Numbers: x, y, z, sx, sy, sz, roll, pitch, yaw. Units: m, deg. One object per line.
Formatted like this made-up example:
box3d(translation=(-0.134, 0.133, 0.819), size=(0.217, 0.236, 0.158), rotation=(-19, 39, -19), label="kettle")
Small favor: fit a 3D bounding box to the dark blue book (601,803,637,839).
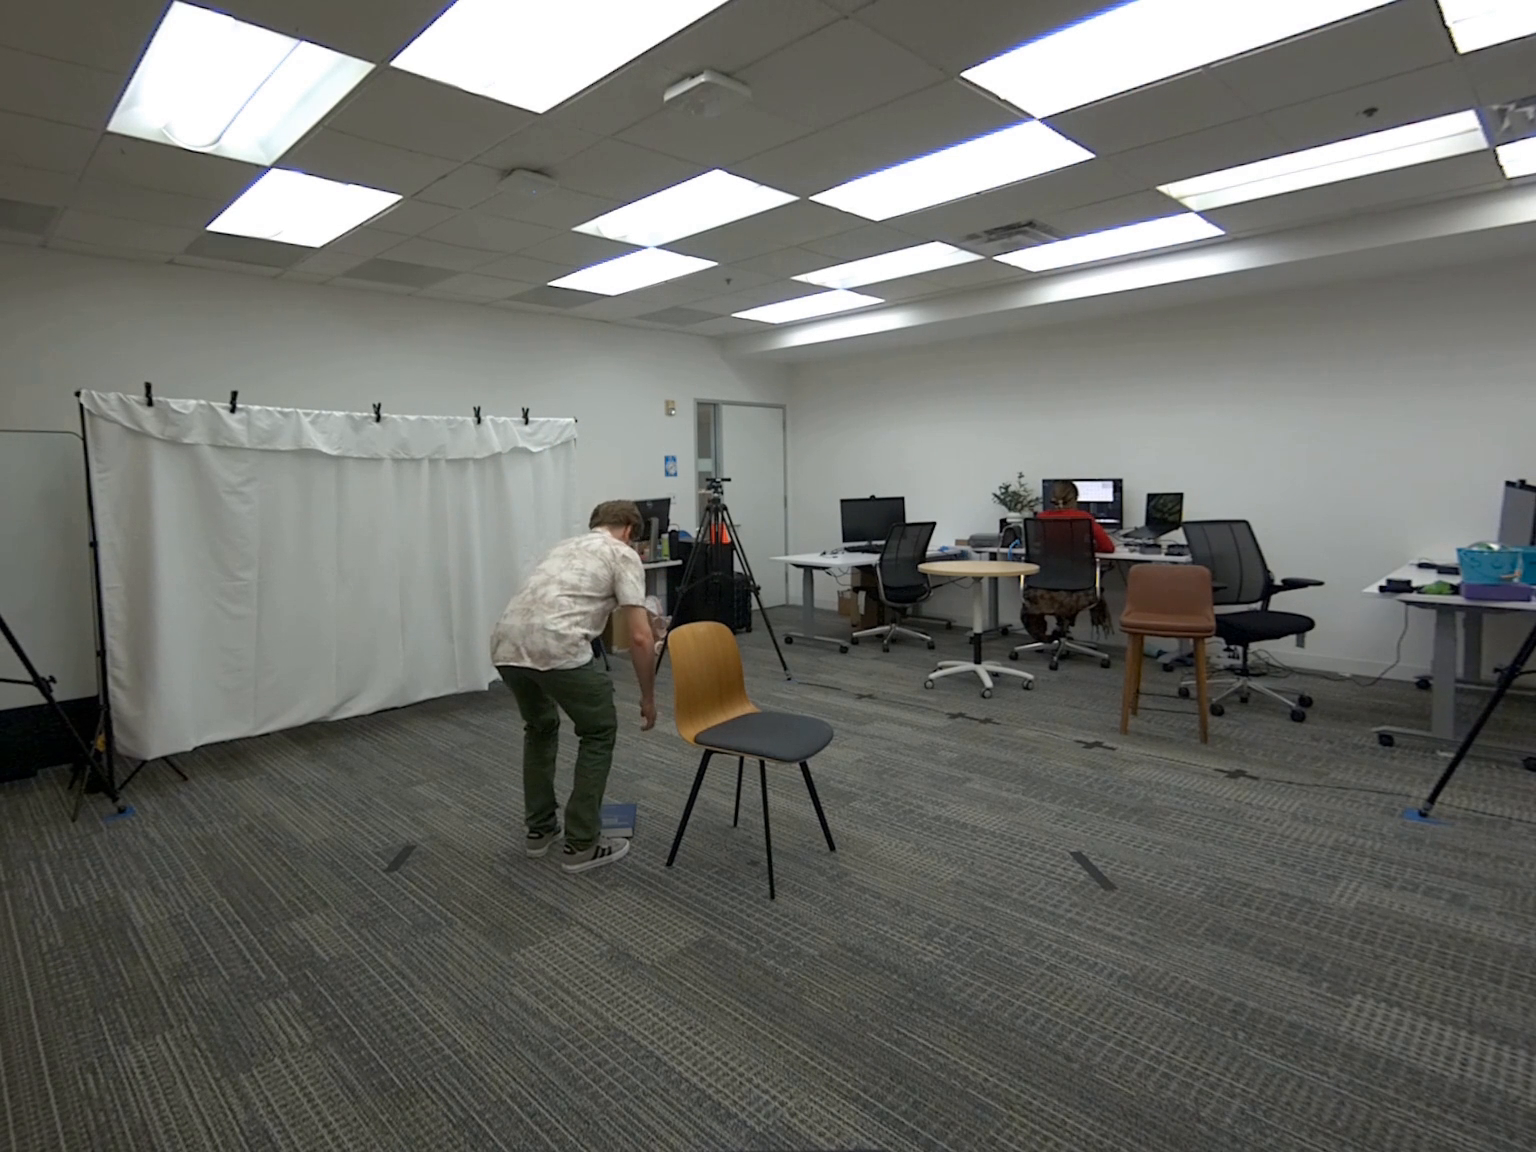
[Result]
box3d(translation=(-0.619, 0.989, 3.459), size=(0.163, 0.045, 0.247), rotation=(-2, 7, -5), label="dark blue book")
